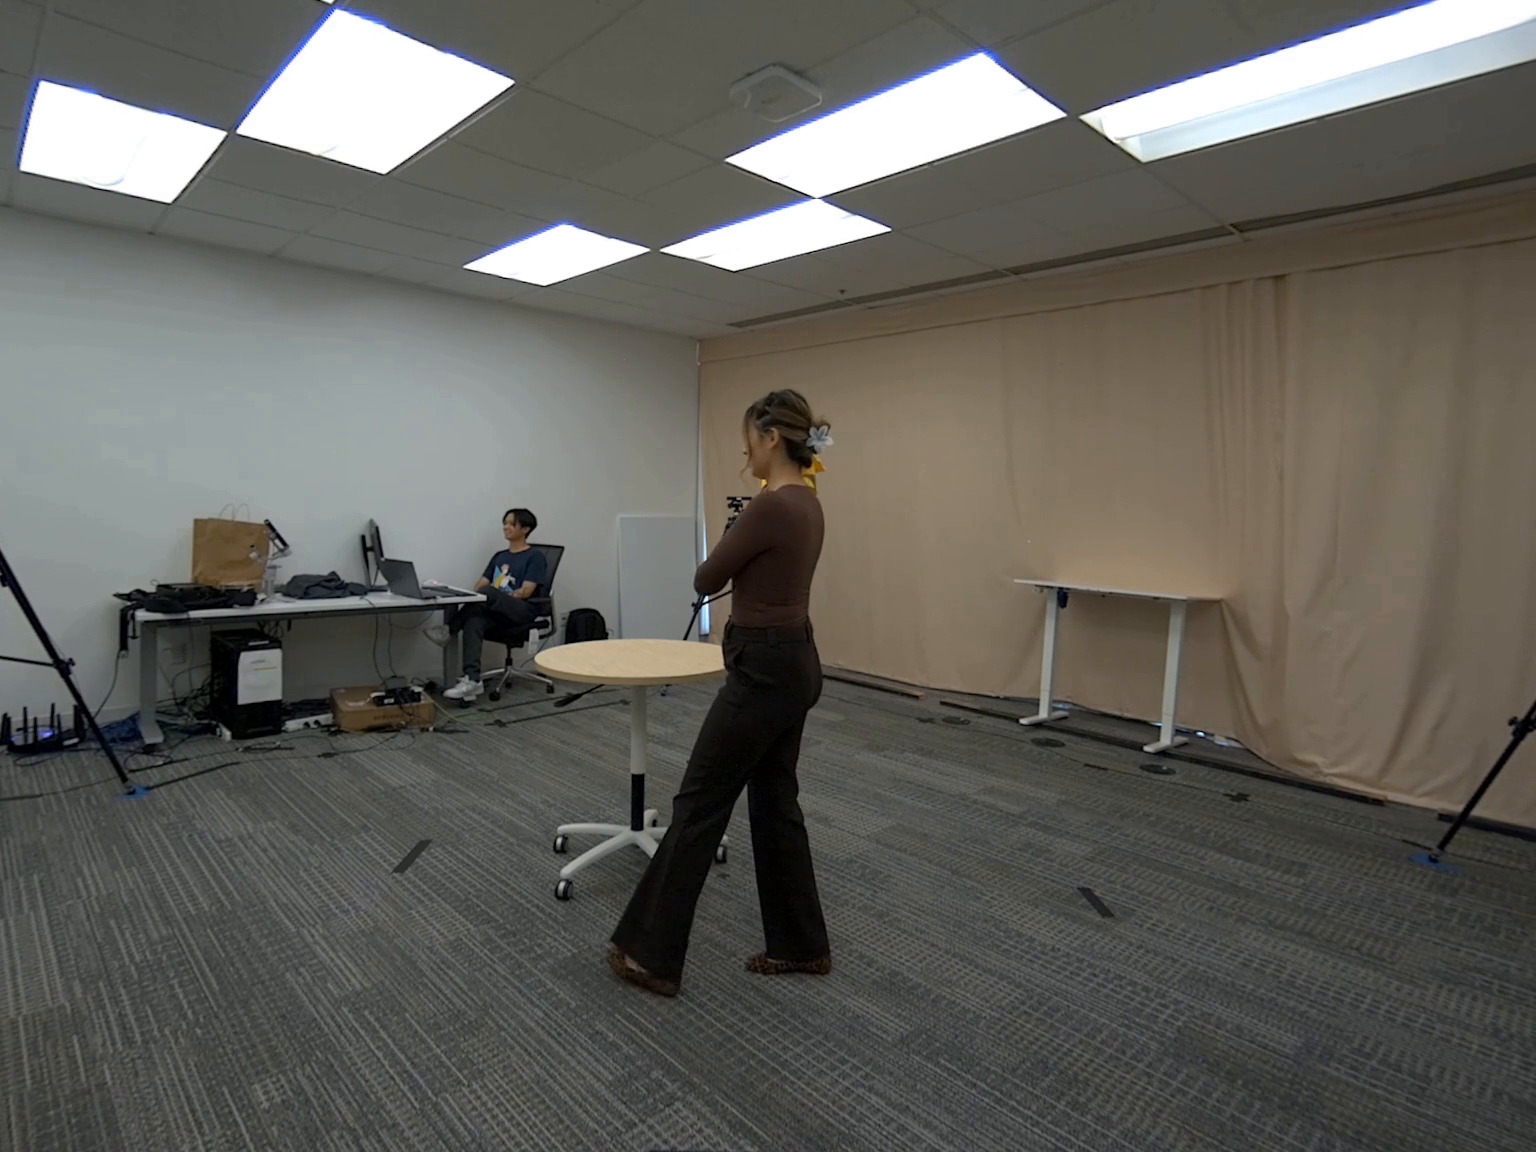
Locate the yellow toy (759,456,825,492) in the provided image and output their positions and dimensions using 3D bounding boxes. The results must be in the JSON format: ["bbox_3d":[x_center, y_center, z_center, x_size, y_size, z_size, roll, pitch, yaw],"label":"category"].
[{"bbox_3d":[0.063,-0.361,2.557,0.195,0.232,0.201,-7,-8,15],"label":"yellow toy"}]
